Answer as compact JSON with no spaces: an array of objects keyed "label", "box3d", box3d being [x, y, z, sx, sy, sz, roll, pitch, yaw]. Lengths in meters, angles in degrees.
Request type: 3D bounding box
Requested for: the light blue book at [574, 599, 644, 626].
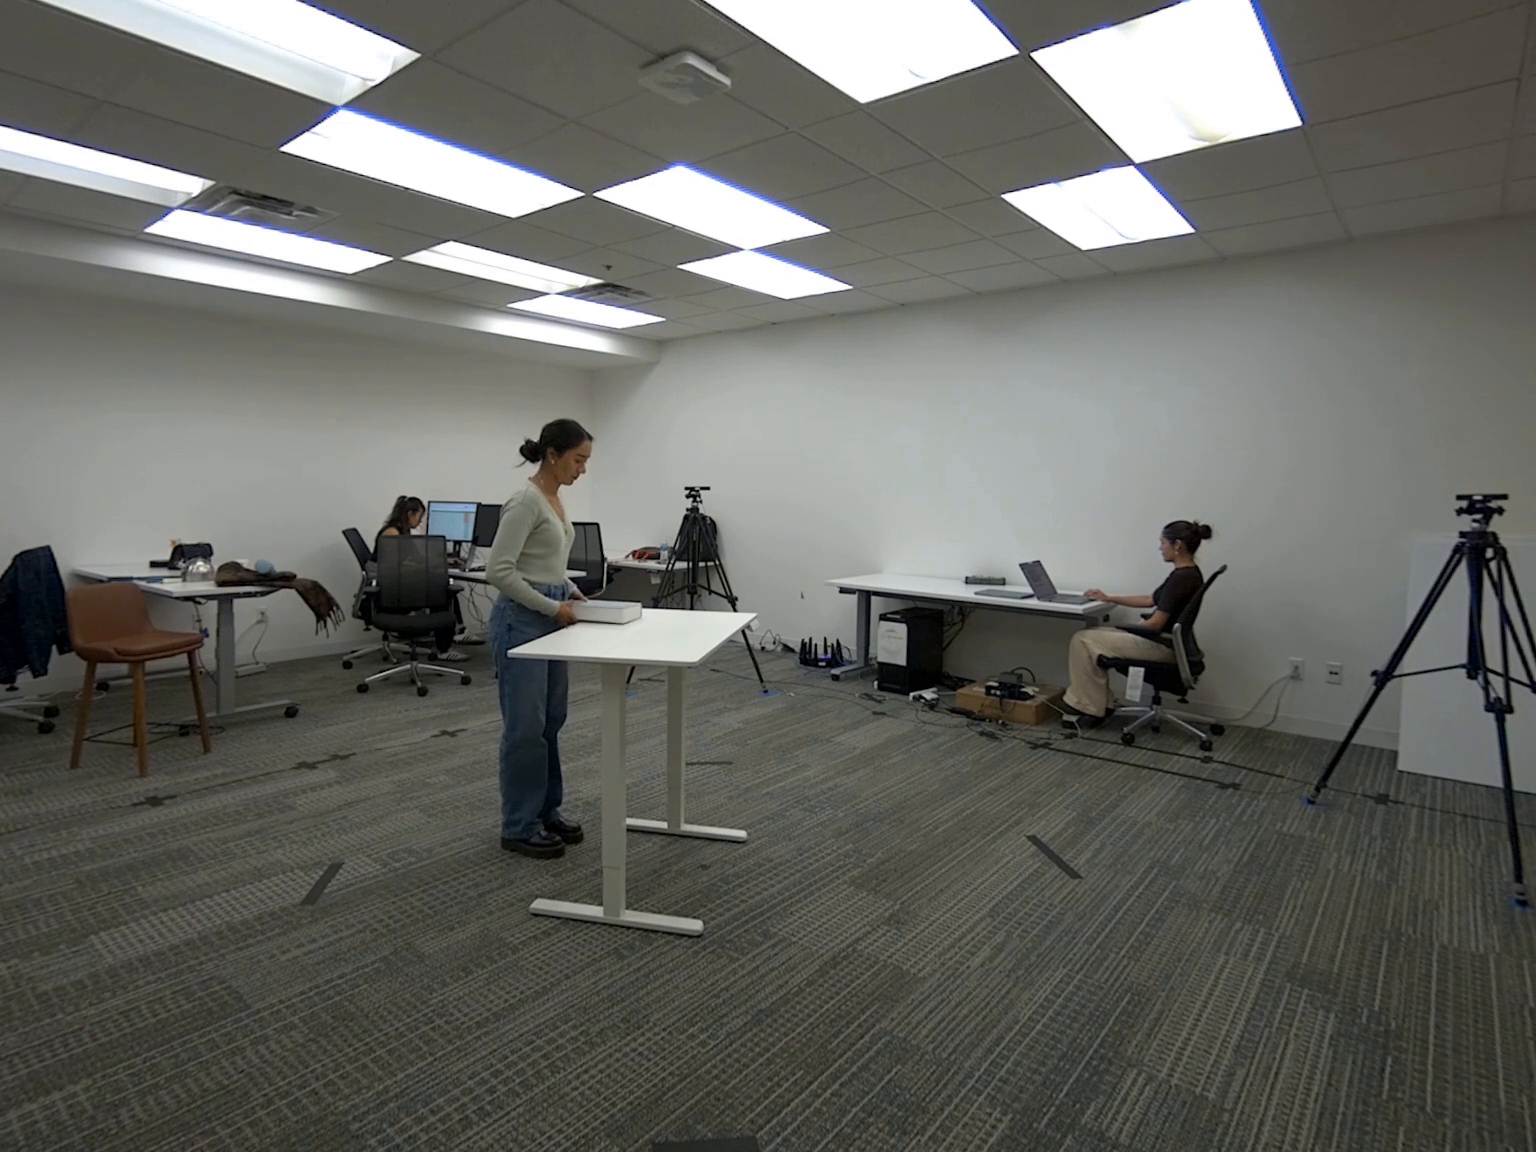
[{"label":"light blue book","box3d":[-0.650,0.130,3.247,0.266,0.059,0.188,3,5,17]}]
